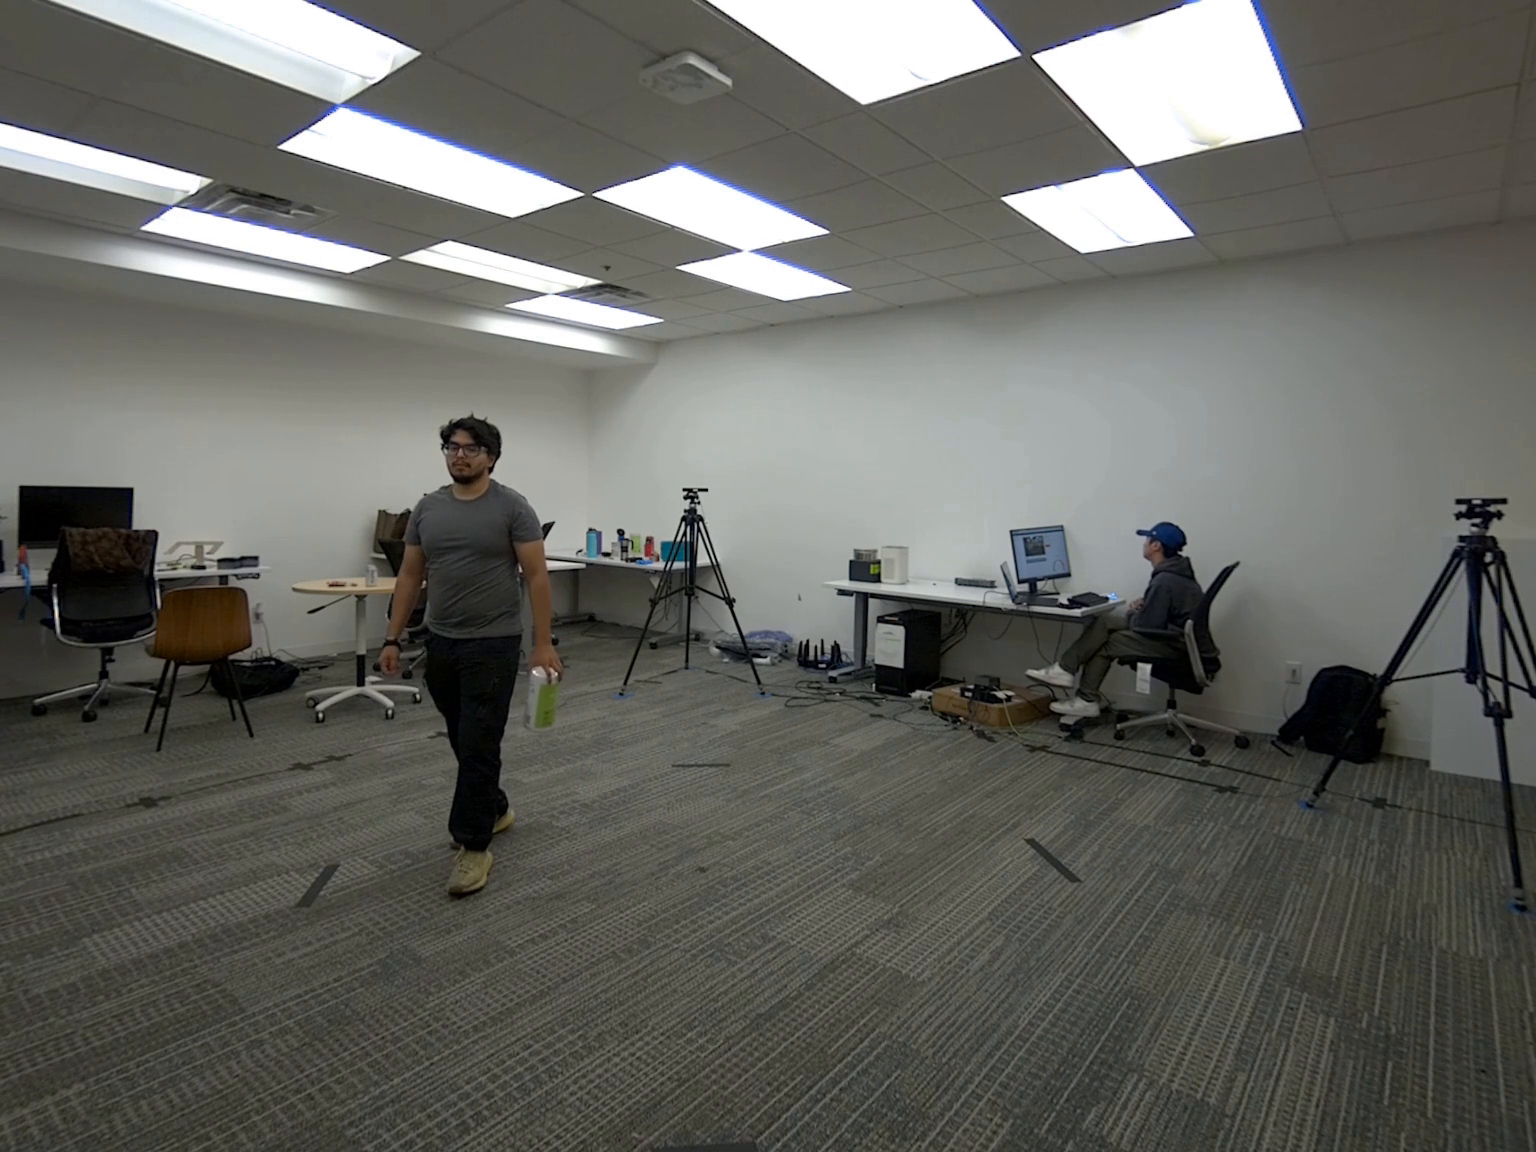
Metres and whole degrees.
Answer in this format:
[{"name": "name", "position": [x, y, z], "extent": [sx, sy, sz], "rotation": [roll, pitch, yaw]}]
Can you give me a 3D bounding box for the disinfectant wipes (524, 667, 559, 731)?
[{"name": "disinfectant wipes", "position": [-0.834, 0.447, 3.078], "extent": [0.117, 0.216, 0.119], "rotation": [10, 9, -4]}]
